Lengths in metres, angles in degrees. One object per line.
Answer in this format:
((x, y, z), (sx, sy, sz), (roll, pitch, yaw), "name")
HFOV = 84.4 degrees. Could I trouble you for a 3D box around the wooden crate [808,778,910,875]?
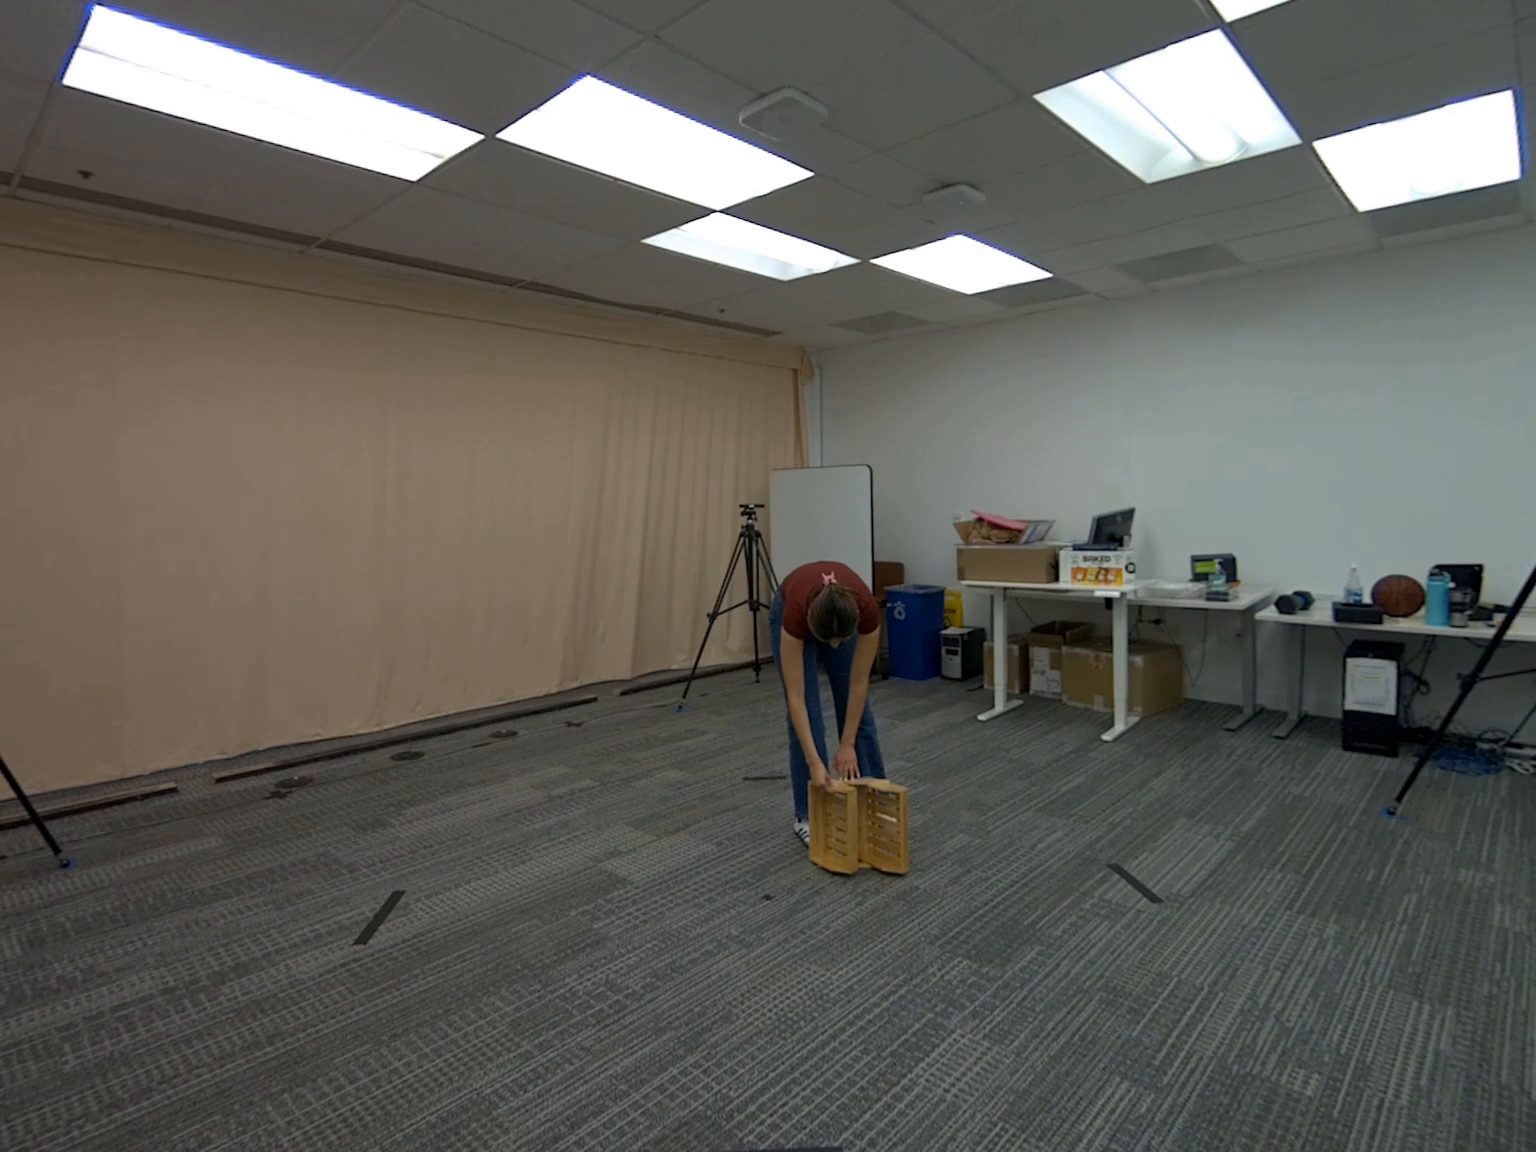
((0.342, 0.943, 3.198), (0.266, 0.325, 0.310), (0, -1, -29), "wooden crate")
